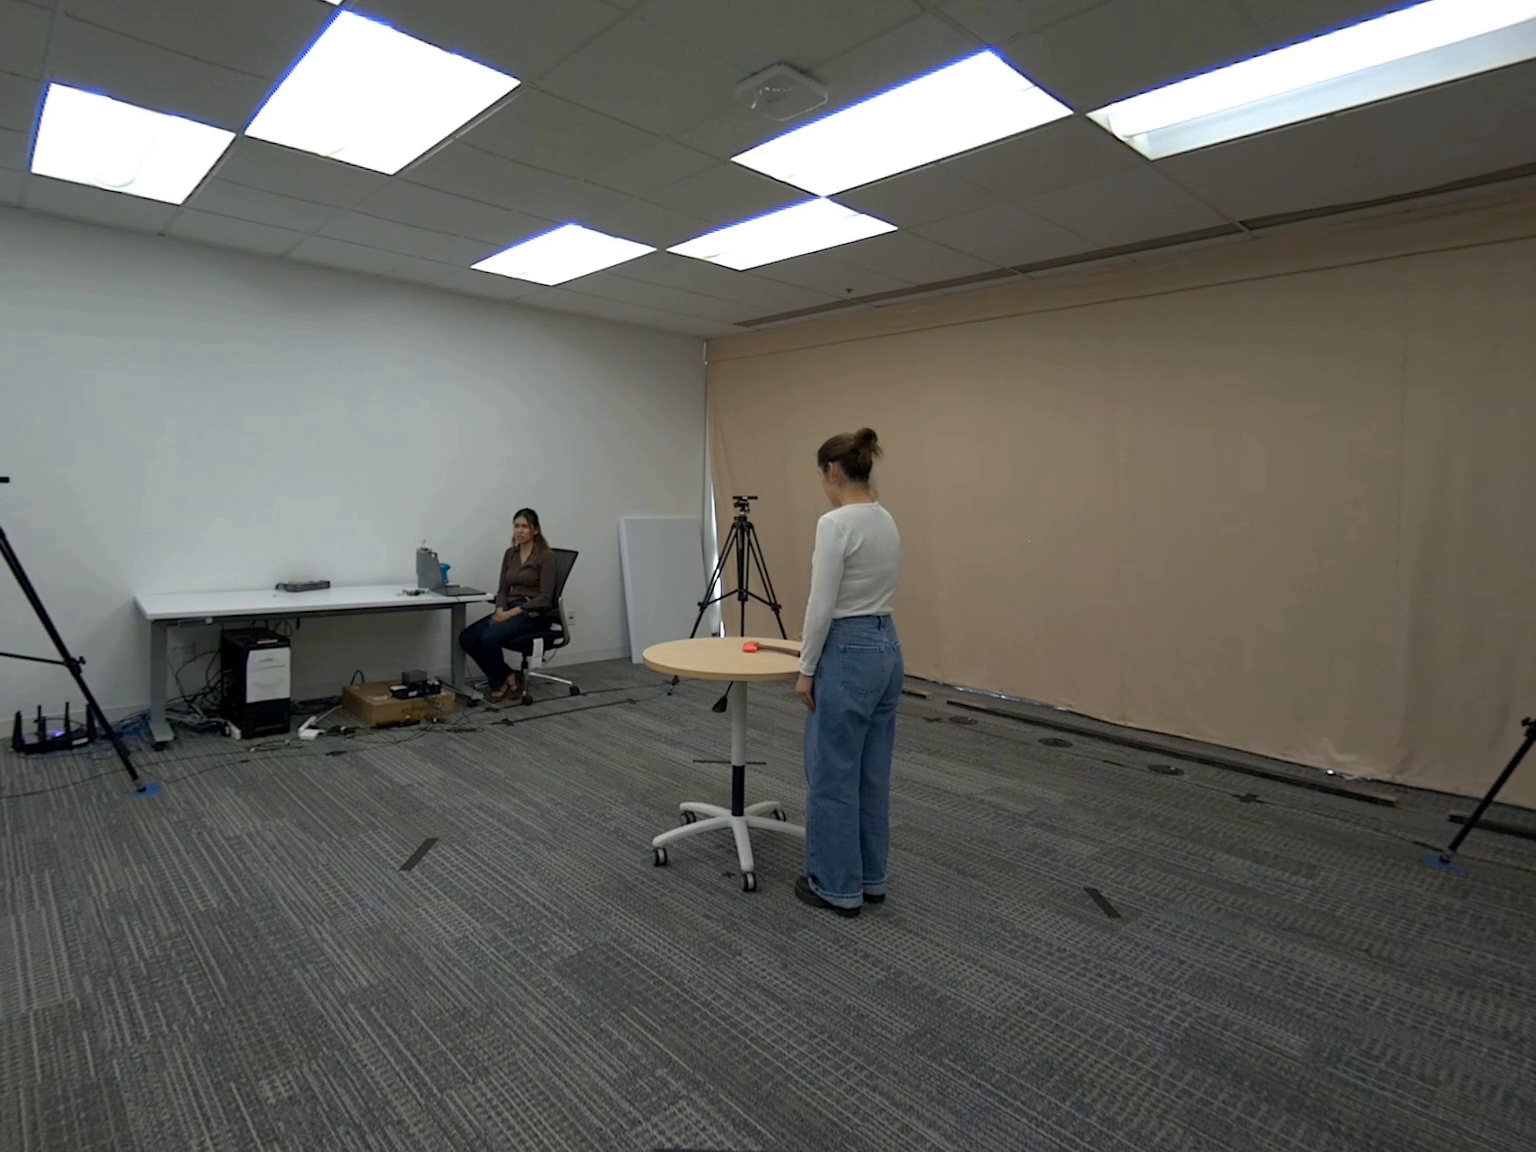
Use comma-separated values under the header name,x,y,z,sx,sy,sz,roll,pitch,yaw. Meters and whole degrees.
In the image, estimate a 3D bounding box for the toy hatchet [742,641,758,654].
name,x,y,z,sx,sy,sz,roll,pitch,yaw
toy hatchet,0.001,0.292,3.303,0.128,0.029,0.277,-7,10,-44
